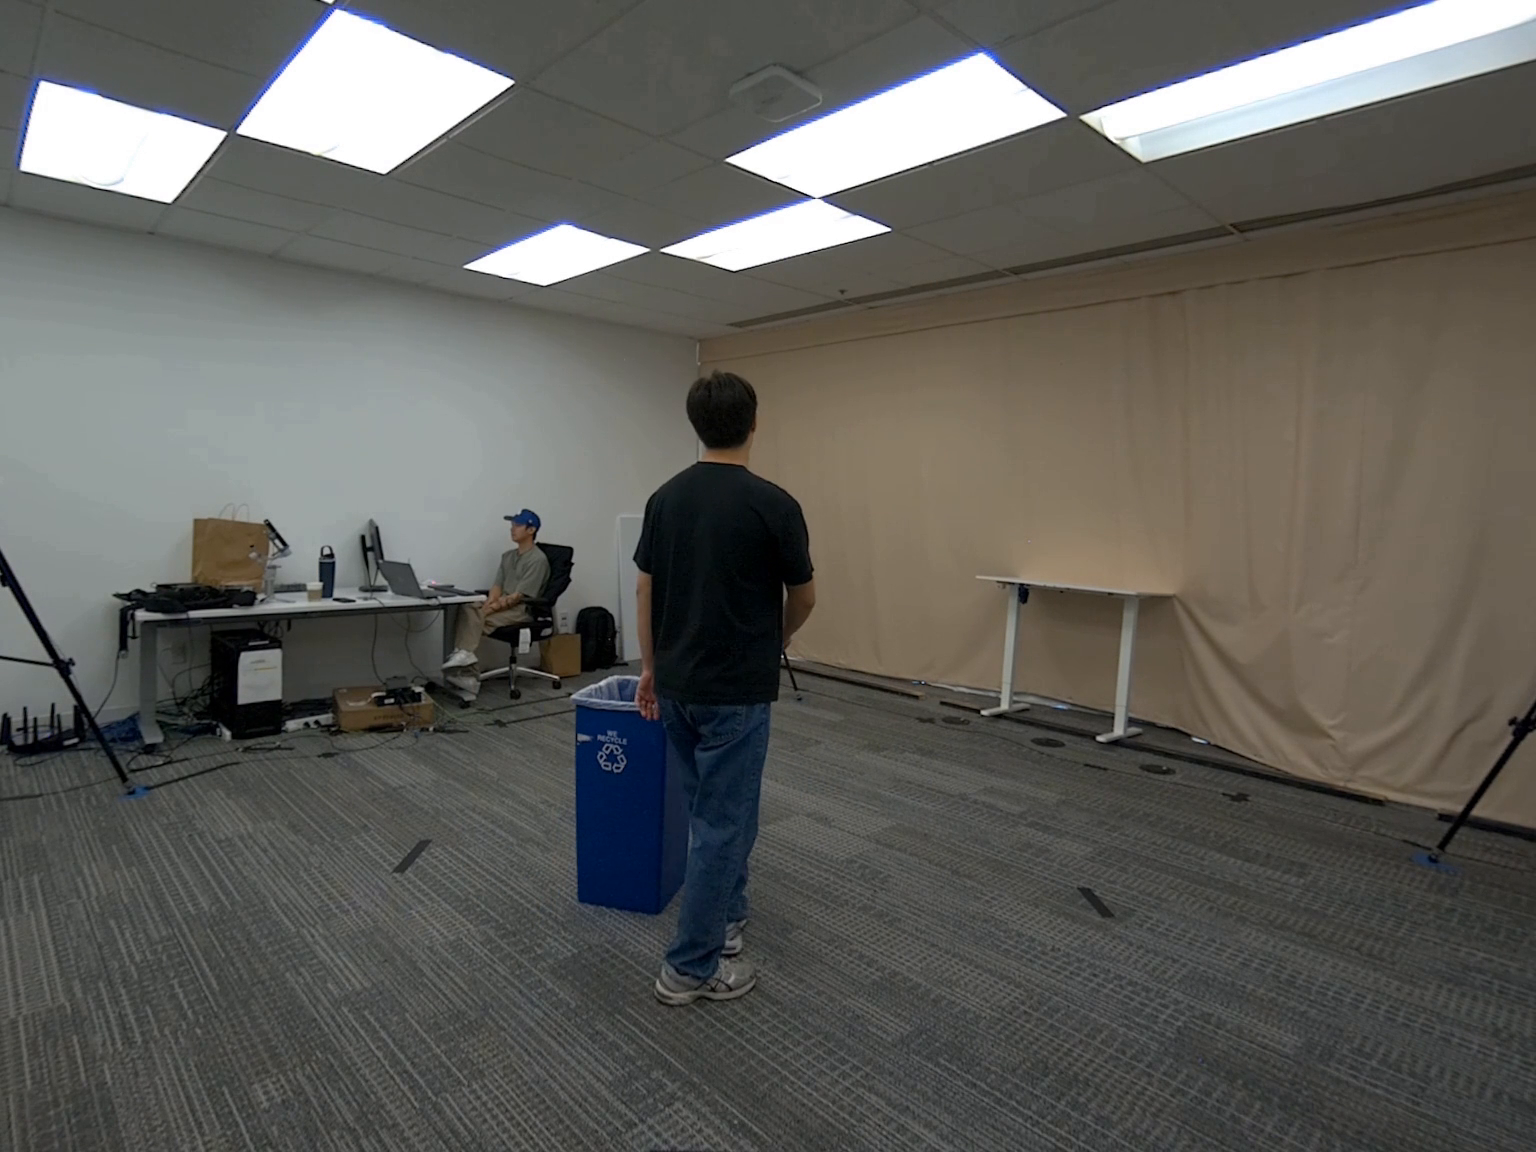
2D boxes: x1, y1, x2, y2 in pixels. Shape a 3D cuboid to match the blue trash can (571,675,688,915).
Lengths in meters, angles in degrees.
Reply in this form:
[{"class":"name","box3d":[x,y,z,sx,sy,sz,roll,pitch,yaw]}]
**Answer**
[{"class":"blue trash can","box3d":[-0.474,0.755,2.956,0.379,0.712,0.374,4,4,15]}]
